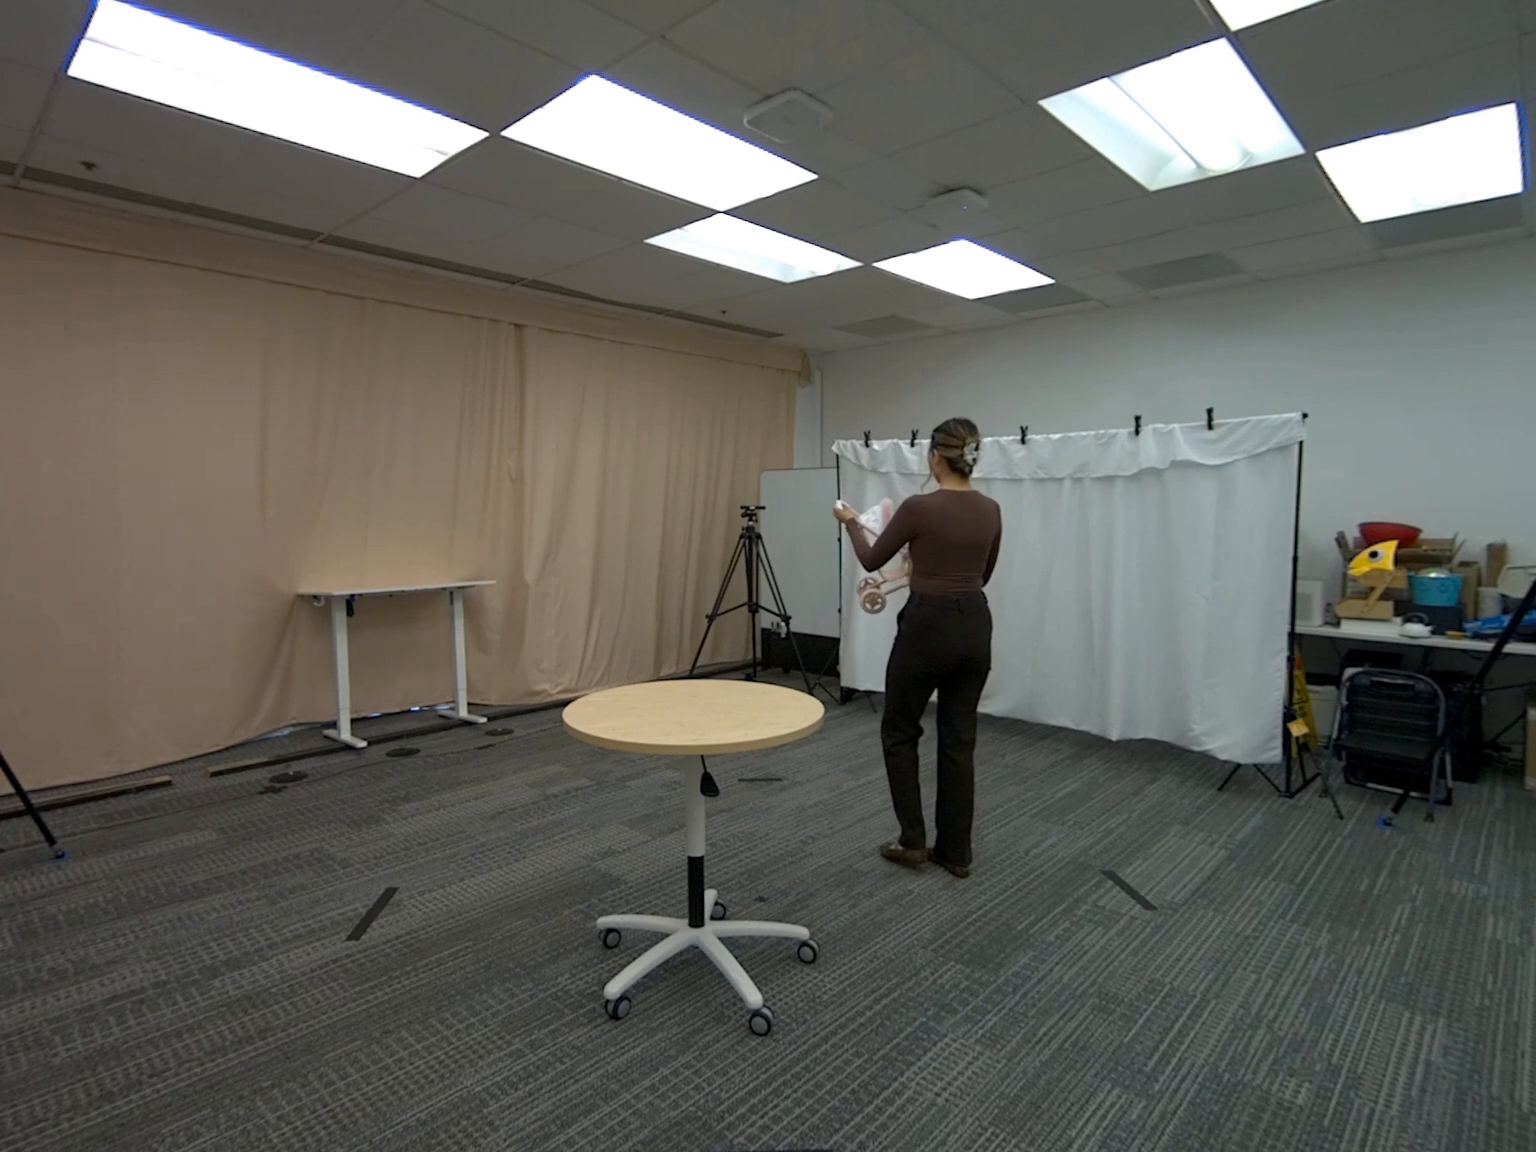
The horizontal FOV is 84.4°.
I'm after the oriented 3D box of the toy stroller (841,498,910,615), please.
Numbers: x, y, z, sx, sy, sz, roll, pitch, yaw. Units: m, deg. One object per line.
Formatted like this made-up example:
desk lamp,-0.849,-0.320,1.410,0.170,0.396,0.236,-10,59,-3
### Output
toy stroller,0.519,-0.090,3.606,0.345,0.530,0.281,-11,10,12
